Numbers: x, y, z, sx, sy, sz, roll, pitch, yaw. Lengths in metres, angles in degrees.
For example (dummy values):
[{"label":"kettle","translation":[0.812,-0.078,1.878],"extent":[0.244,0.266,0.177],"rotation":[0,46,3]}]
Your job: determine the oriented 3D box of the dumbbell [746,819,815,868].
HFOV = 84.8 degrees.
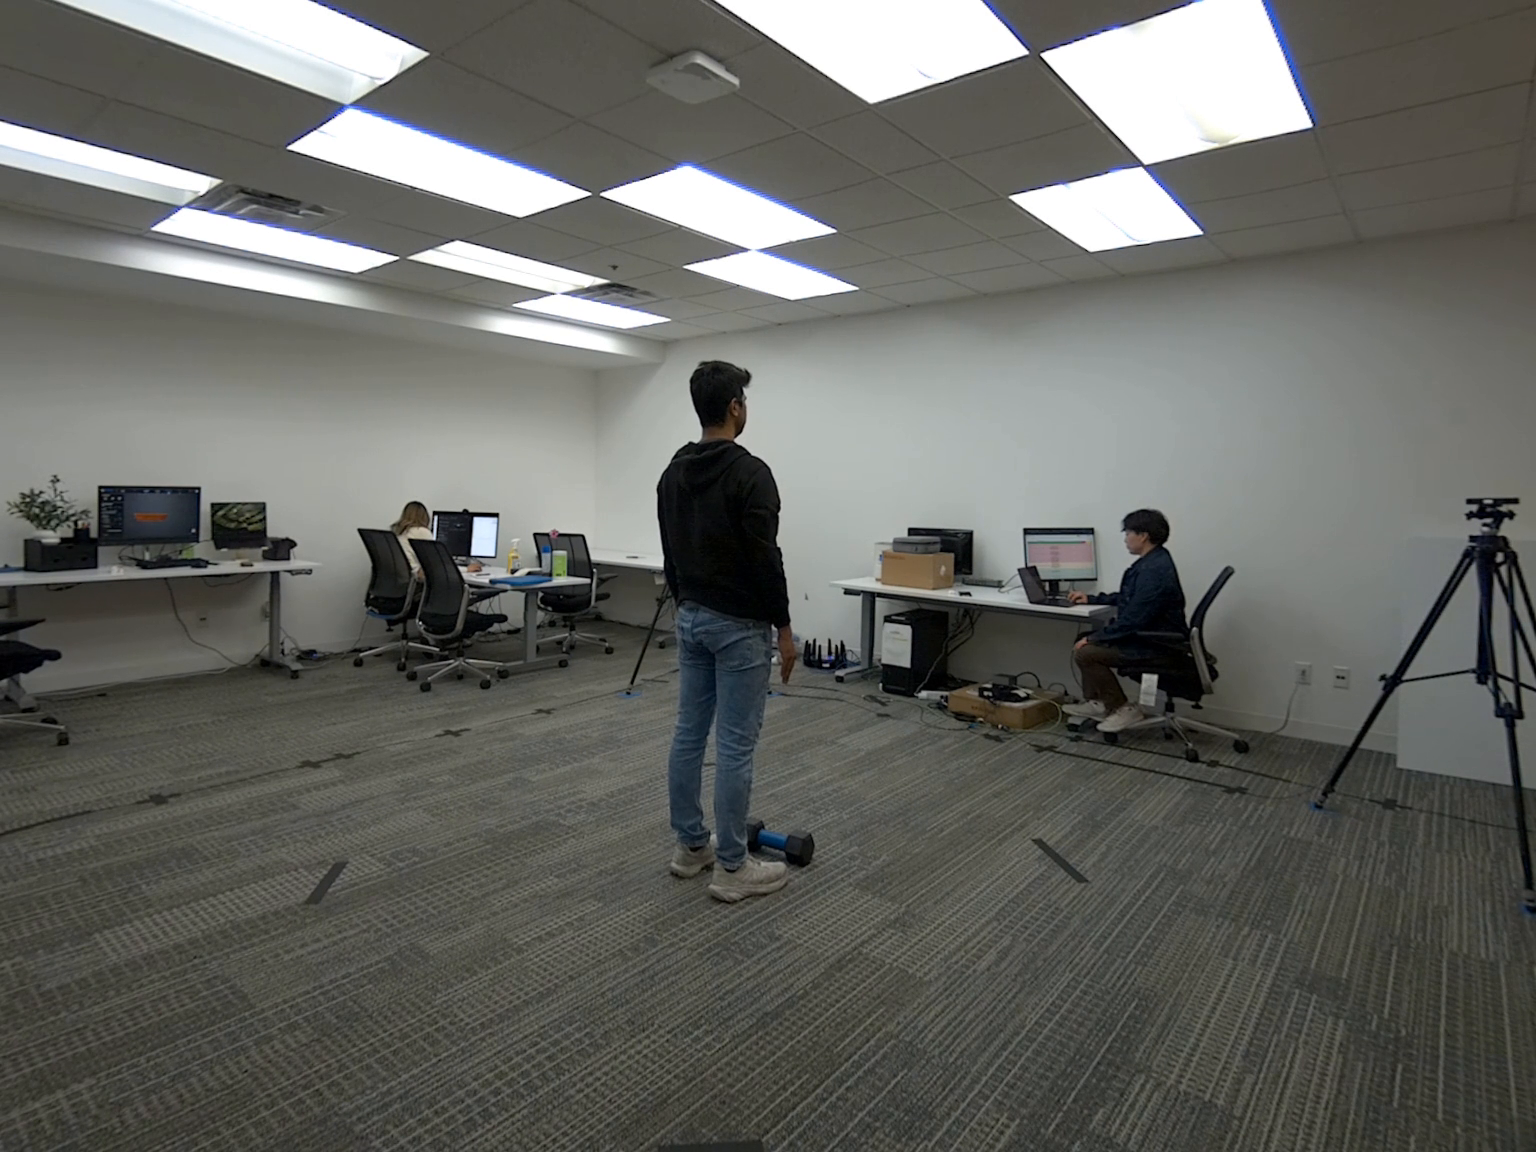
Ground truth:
[{"label":"dumbbell","translation":[0.012,0.999,3.232],"extent":[0.303,0.124,0.104],"rotation":[4,-24,32]}]
